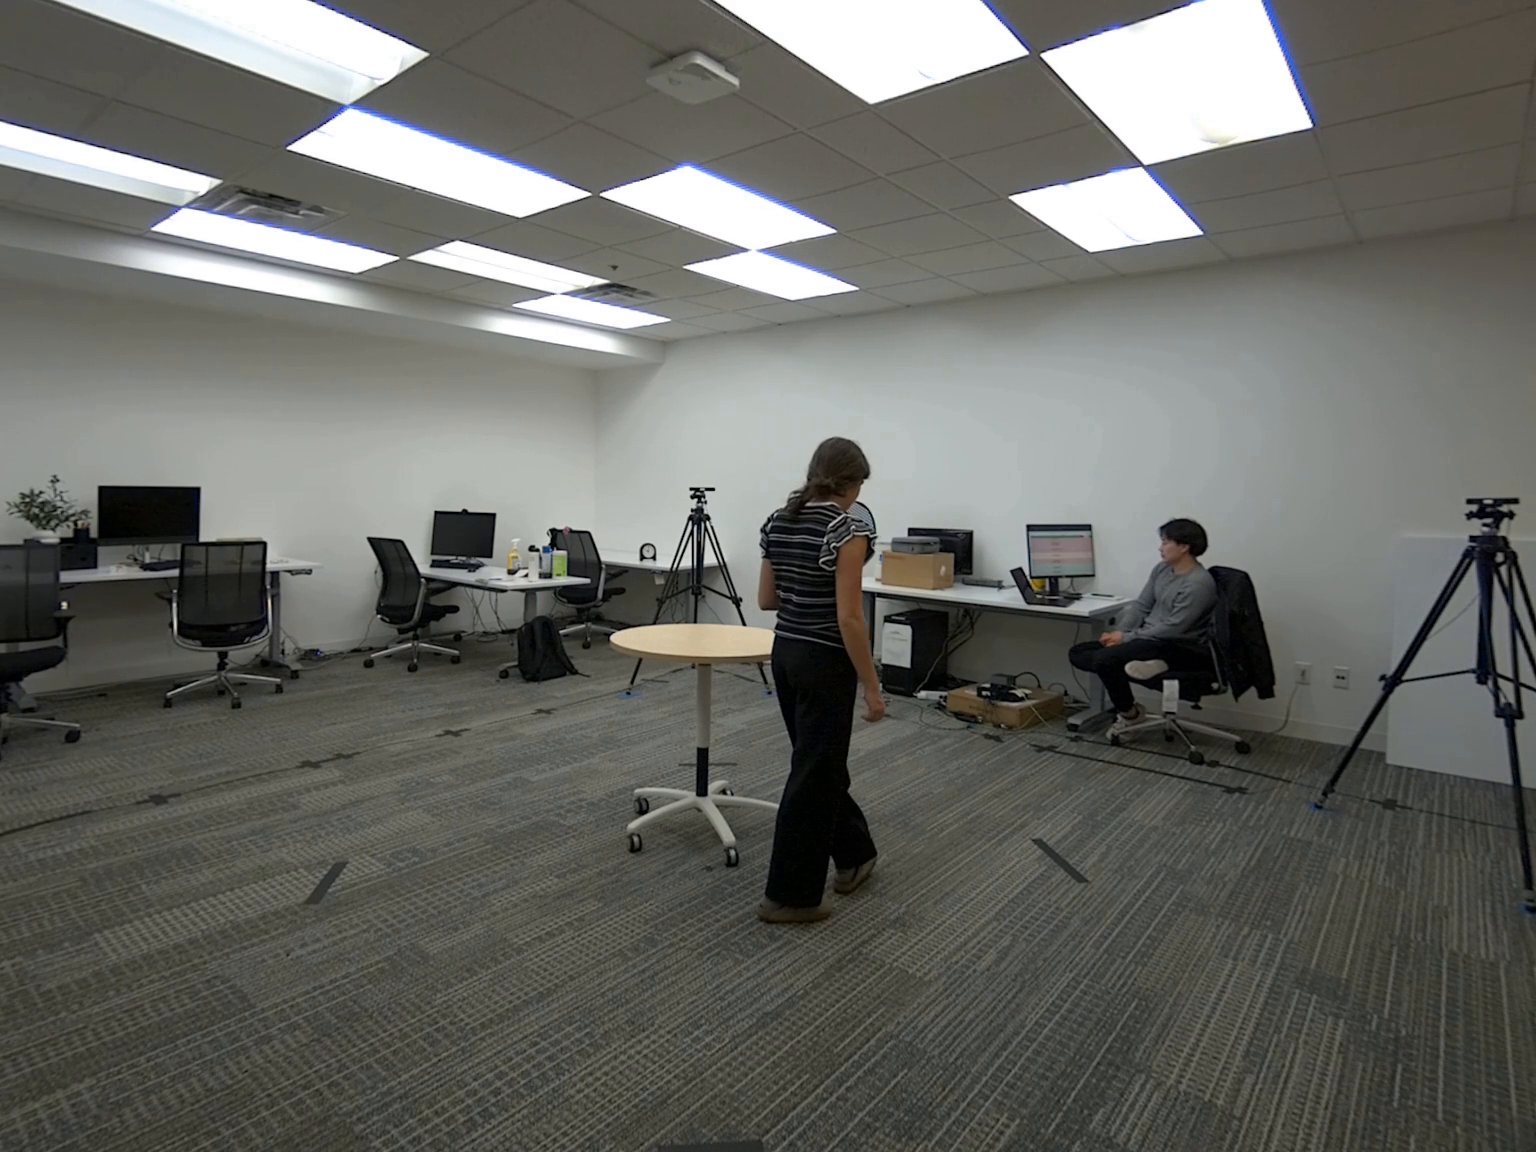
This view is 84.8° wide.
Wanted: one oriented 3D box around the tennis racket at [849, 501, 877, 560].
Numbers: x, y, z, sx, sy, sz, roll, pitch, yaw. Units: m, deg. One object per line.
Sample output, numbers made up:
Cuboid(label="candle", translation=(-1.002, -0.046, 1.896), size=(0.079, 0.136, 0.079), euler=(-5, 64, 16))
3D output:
Cuboid(label="tennis racket", translation=(0.275, -0.079, 3.097), size=(0.207, 0.437, 0.032), euler=(28, -22, -27))
